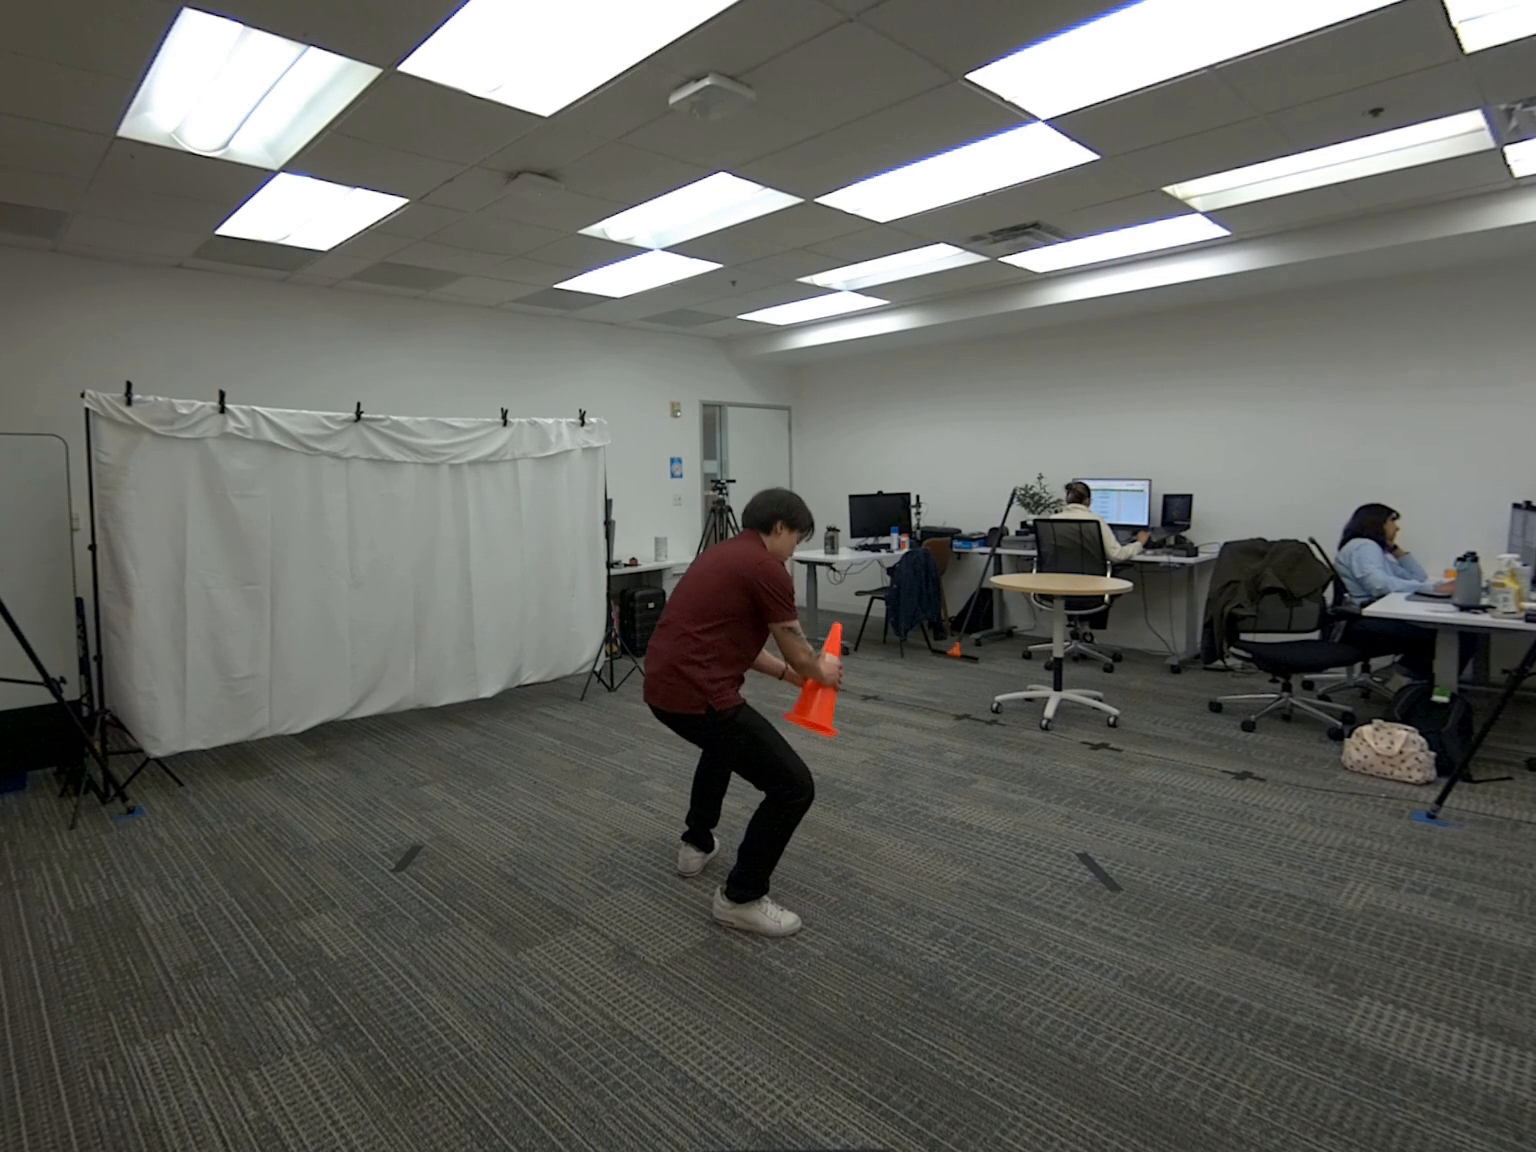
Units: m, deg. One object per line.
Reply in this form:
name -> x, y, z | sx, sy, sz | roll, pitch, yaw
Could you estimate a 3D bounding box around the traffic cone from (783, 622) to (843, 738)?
traffic cone -> 0.202, 0.359, 3.066 | 0.205, 0.387, 0.201 | 17, -16, -1
